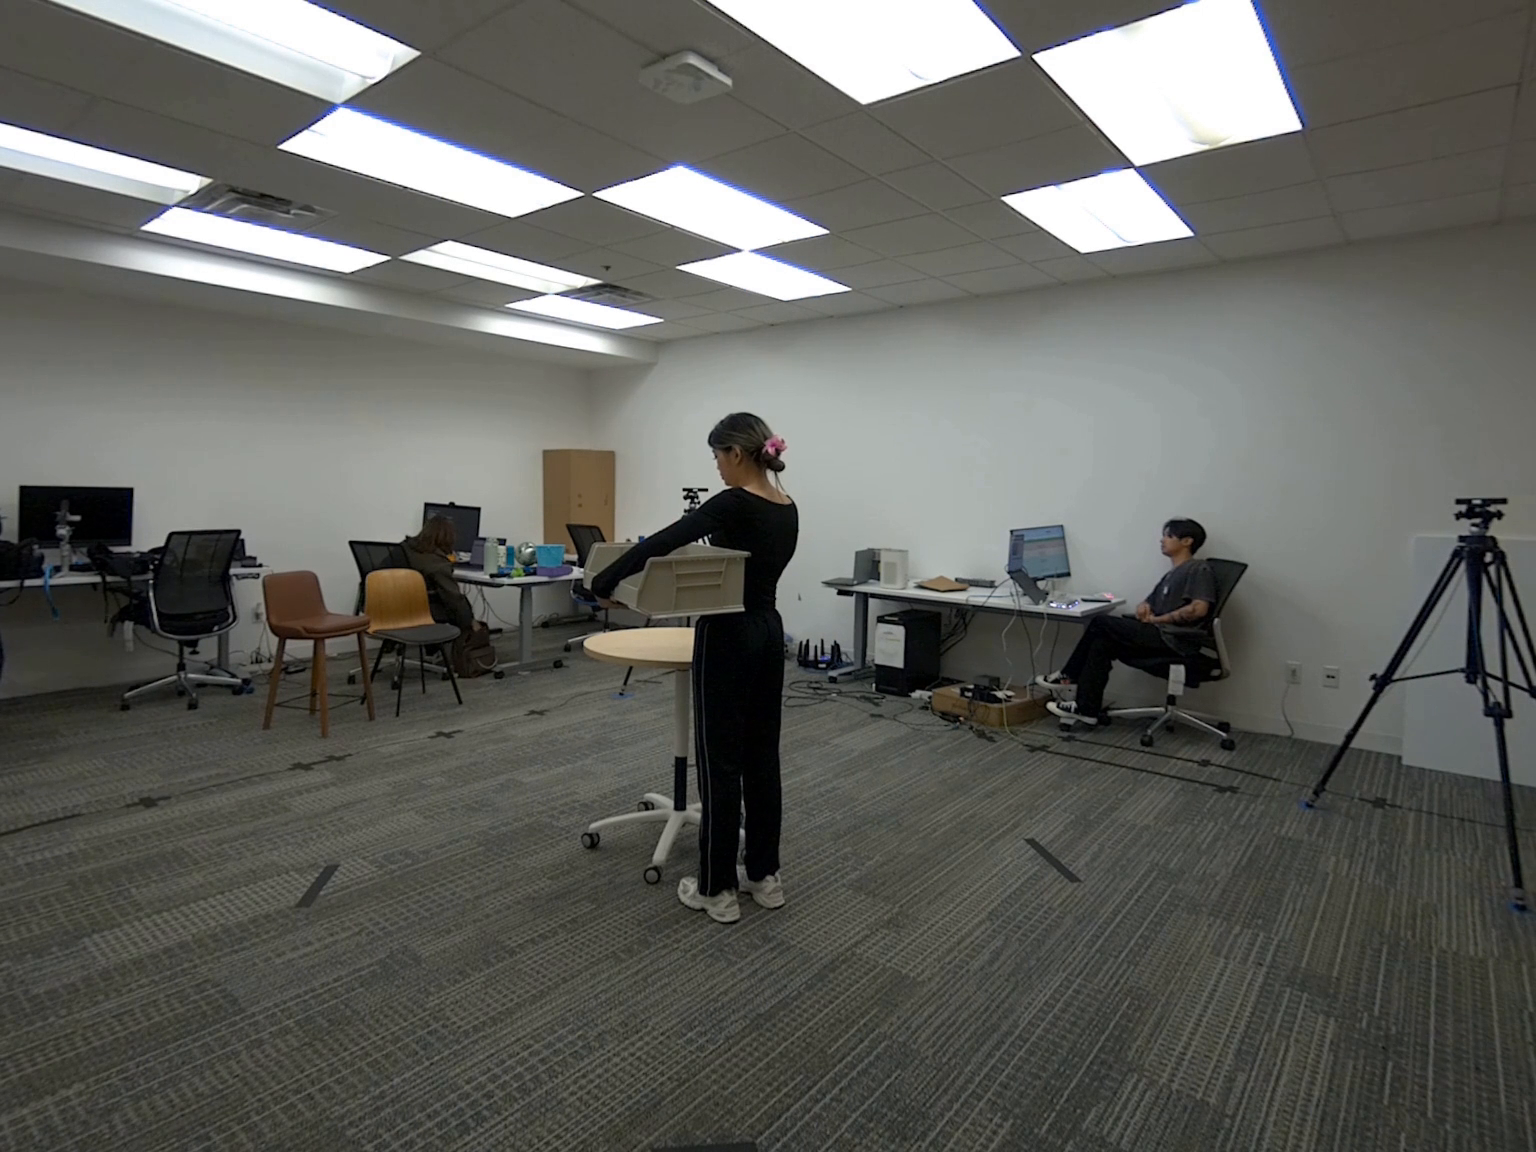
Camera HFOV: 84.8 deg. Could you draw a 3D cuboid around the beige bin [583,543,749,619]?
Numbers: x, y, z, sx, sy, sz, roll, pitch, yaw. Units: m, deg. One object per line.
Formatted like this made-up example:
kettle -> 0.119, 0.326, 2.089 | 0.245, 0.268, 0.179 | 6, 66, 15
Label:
beige bin -> -0.348, 0.000, 2.657 | 0.367, 0.188, 0.435 | -2, 7, -30
